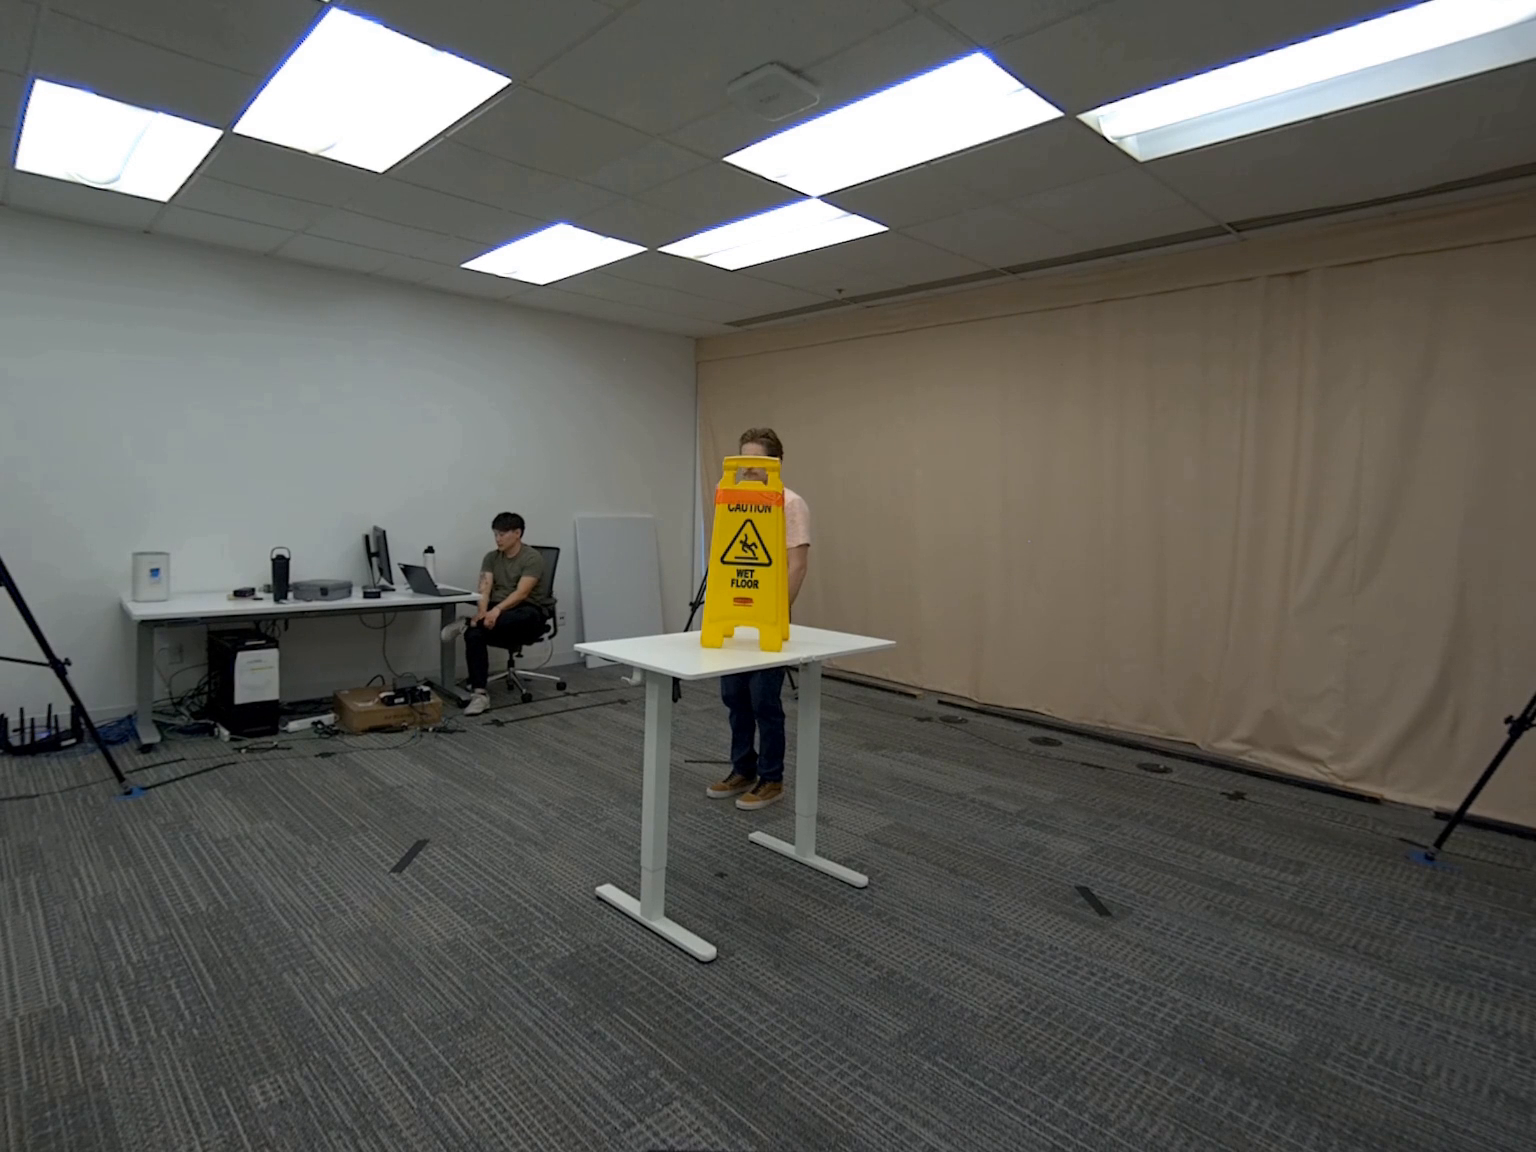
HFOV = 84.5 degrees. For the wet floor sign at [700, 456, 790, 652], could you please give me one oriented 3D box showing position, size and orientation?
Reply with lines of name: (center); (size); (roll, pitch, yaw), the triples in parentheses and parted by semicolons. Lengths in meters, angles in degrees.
wet floor sign: (-0.074, -0.085, 2.922); (0.284, 0.645, 0.288); (3, 3, 7)
